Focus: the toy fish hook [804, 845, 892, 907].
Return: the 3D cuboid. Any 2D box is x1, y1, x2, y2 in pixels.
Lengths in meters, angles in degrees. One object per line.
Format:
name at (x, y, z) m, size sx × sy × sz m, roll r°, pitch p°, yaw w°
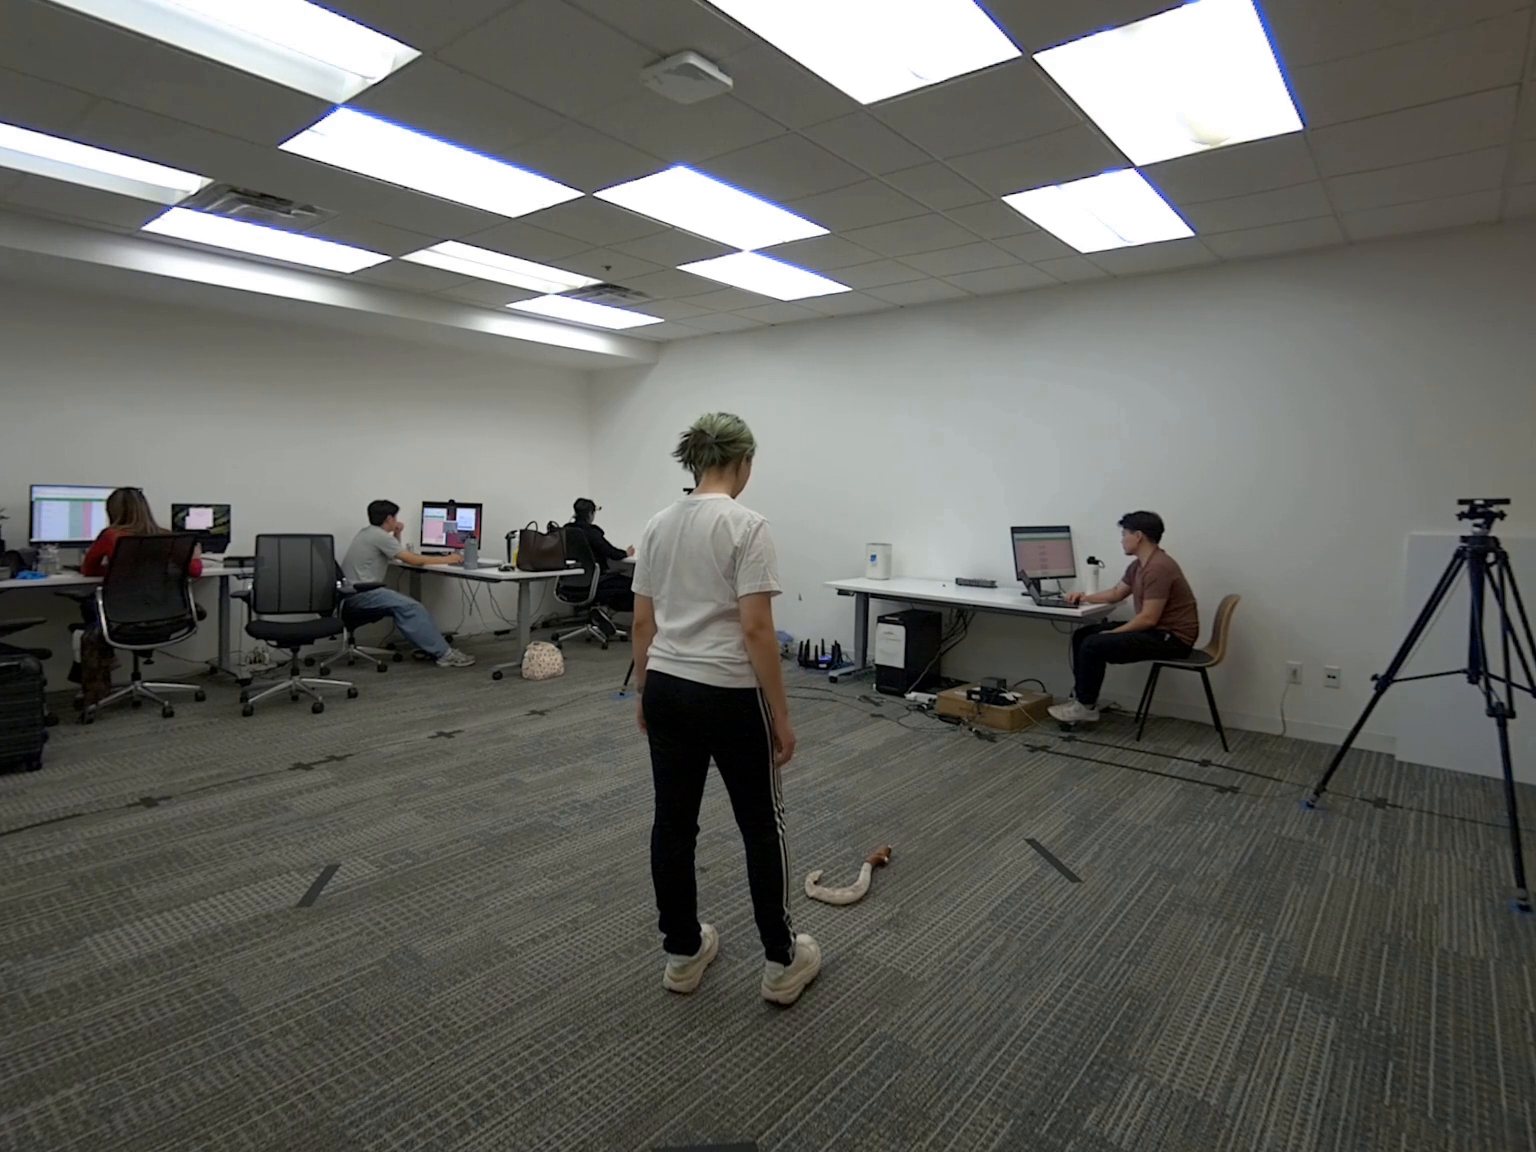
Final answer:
toy fish hook at (0.290, 1.061, 3.081) m, size 0.231 × 0.048 × 0.494 m, roll 7°, pitch 7°, yaw 29°
